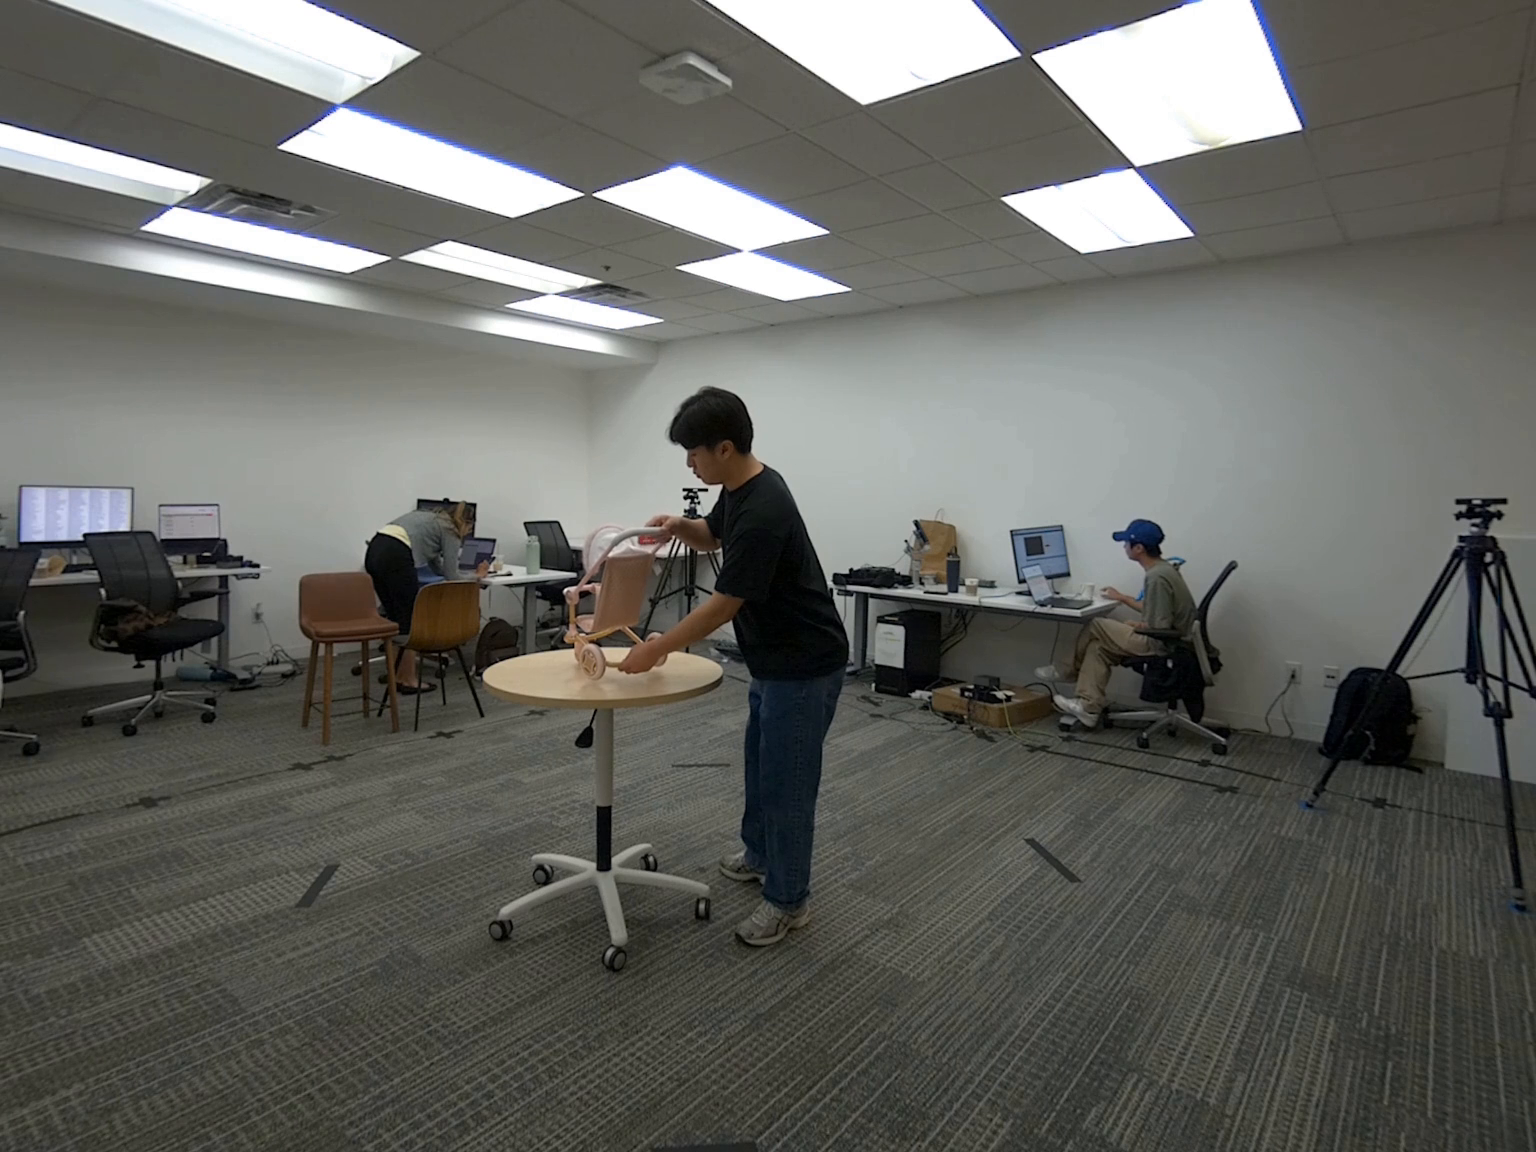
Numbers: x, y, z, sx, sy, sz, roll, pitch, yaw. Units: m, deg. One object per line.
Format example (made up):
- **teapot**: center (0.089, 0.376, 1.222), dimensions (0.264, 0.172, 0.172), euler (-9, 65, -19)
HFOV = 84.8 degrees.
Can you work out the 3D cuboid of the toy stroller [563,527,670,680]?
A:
- **toy stroller**: center (-0.509, 0.071, 2.704), dimensions (0.273, 0.529, 0.355), euler (-5, 17, -41)
